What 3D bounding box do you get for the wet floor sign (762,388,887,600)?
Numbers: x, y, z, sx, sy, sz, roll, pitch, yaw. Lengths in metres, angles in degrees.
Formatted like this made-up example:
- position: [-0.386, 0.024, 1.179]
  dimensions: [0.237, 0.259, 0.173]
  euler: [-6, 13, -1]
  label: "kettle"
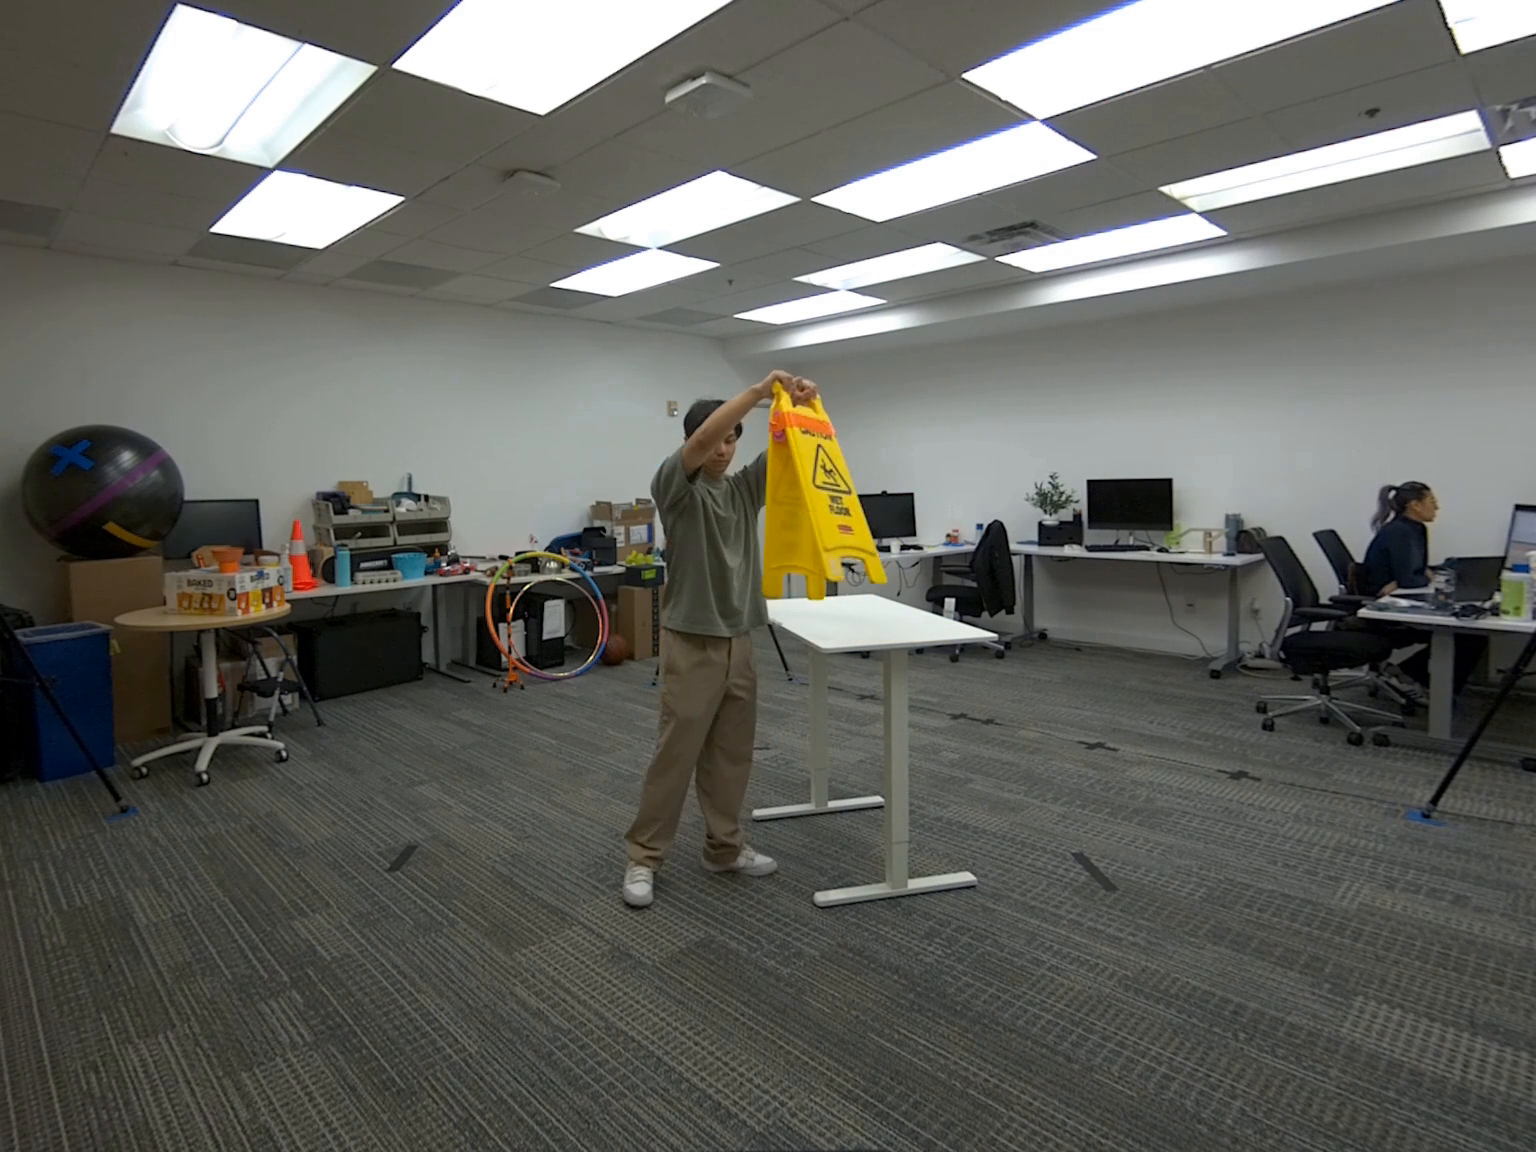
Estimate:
- position: [0.127, -0.272, 2.571]
  dimensions: [0.295, 0.653, 0.273]
  euler: [-16, -14, 43]
  label: "wet floor sign"
